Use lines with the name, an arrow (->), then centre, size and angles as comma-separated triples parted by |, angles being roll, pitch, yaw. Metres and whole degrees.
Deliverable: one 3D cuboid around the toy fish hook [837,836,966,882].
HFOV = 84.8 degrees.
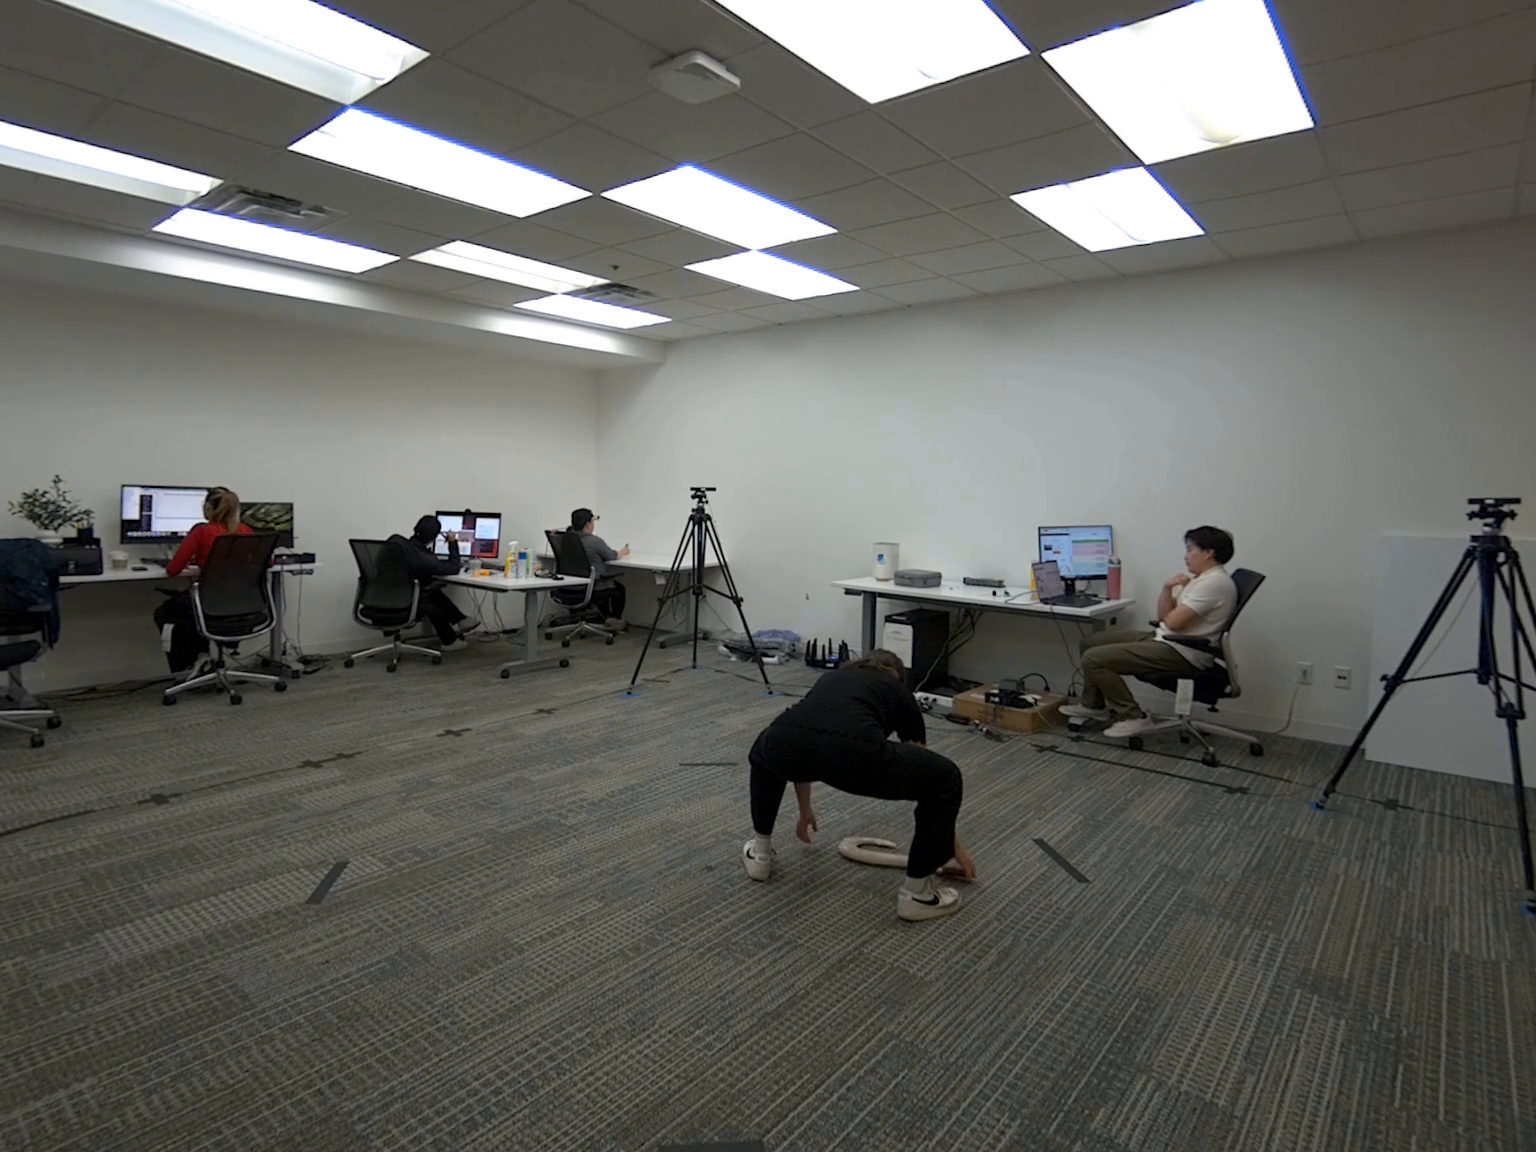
toy fish hook -> 0.508, 1.053, 3.209 | 0.520, 0.048, 0.220 | 4, 8, 24
